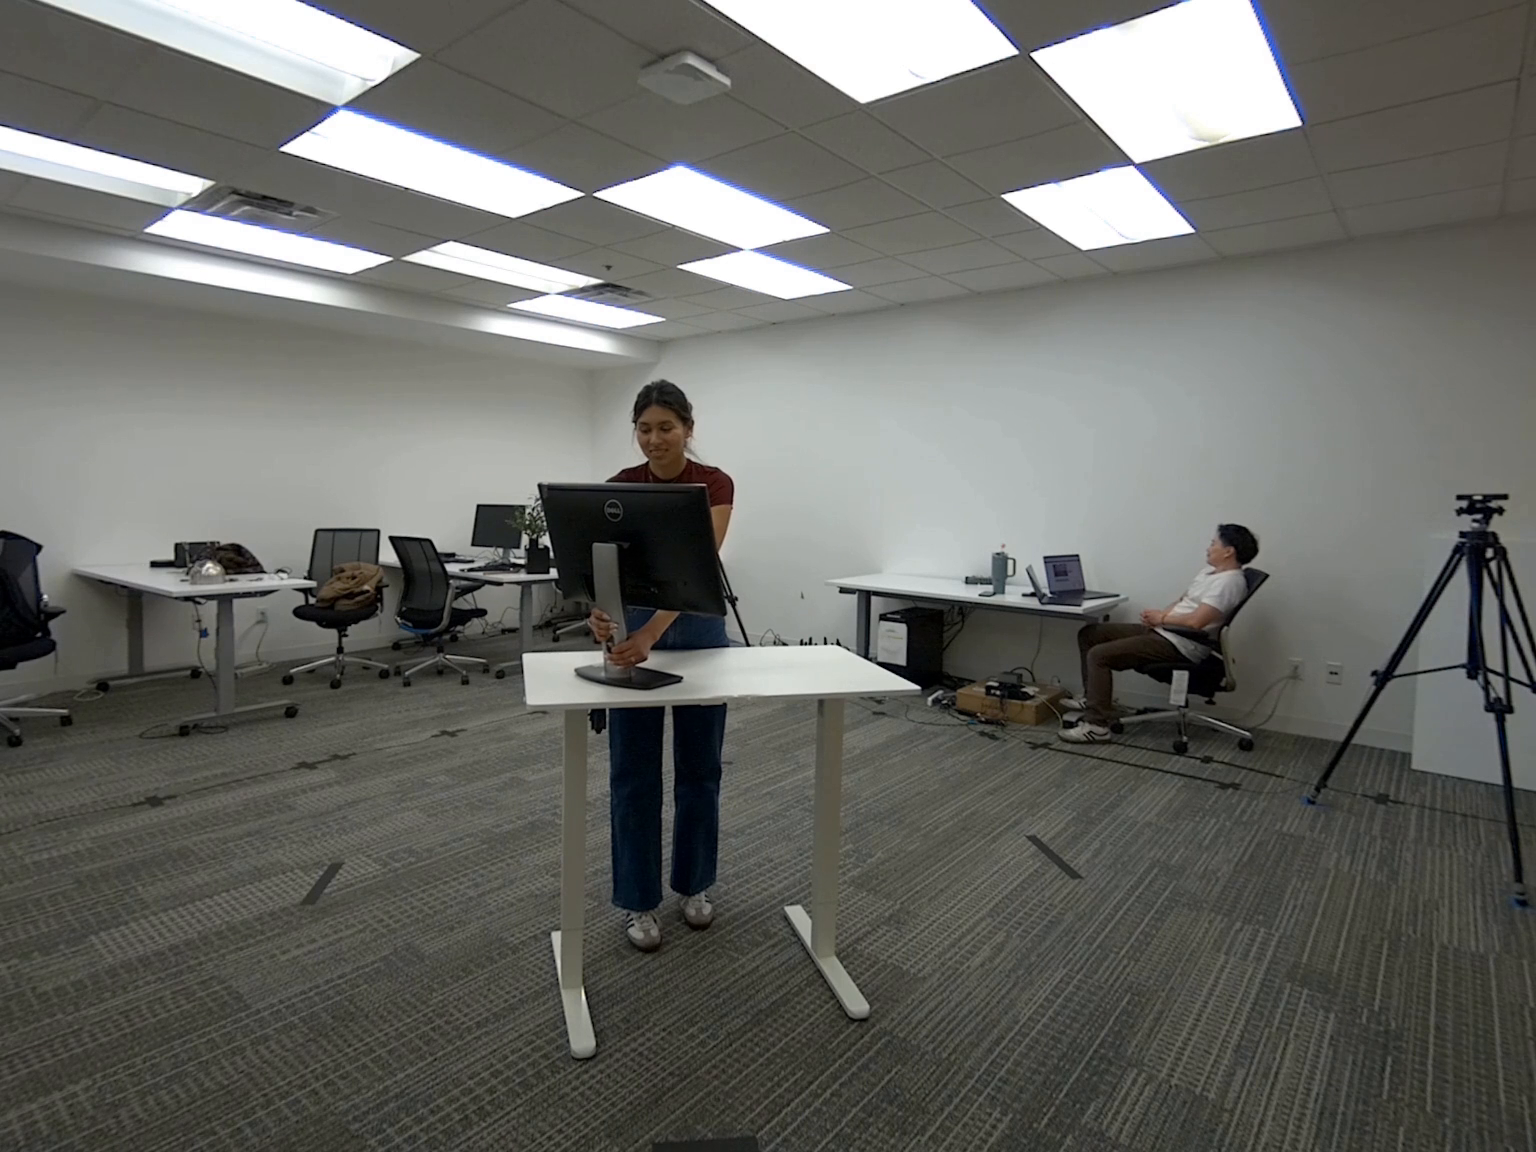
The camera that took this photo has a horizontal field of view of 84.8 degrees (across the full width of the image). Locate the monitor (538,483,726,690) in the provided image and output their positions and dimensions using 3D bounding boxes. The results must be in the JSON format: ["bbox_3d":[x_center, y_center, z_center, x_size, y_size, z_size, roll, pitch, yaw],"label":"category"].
[{"bbox_3d":[-0.395,0.015,2.229,0.554,0.519,0.183,3,7,28],"label":"monitor"}]
